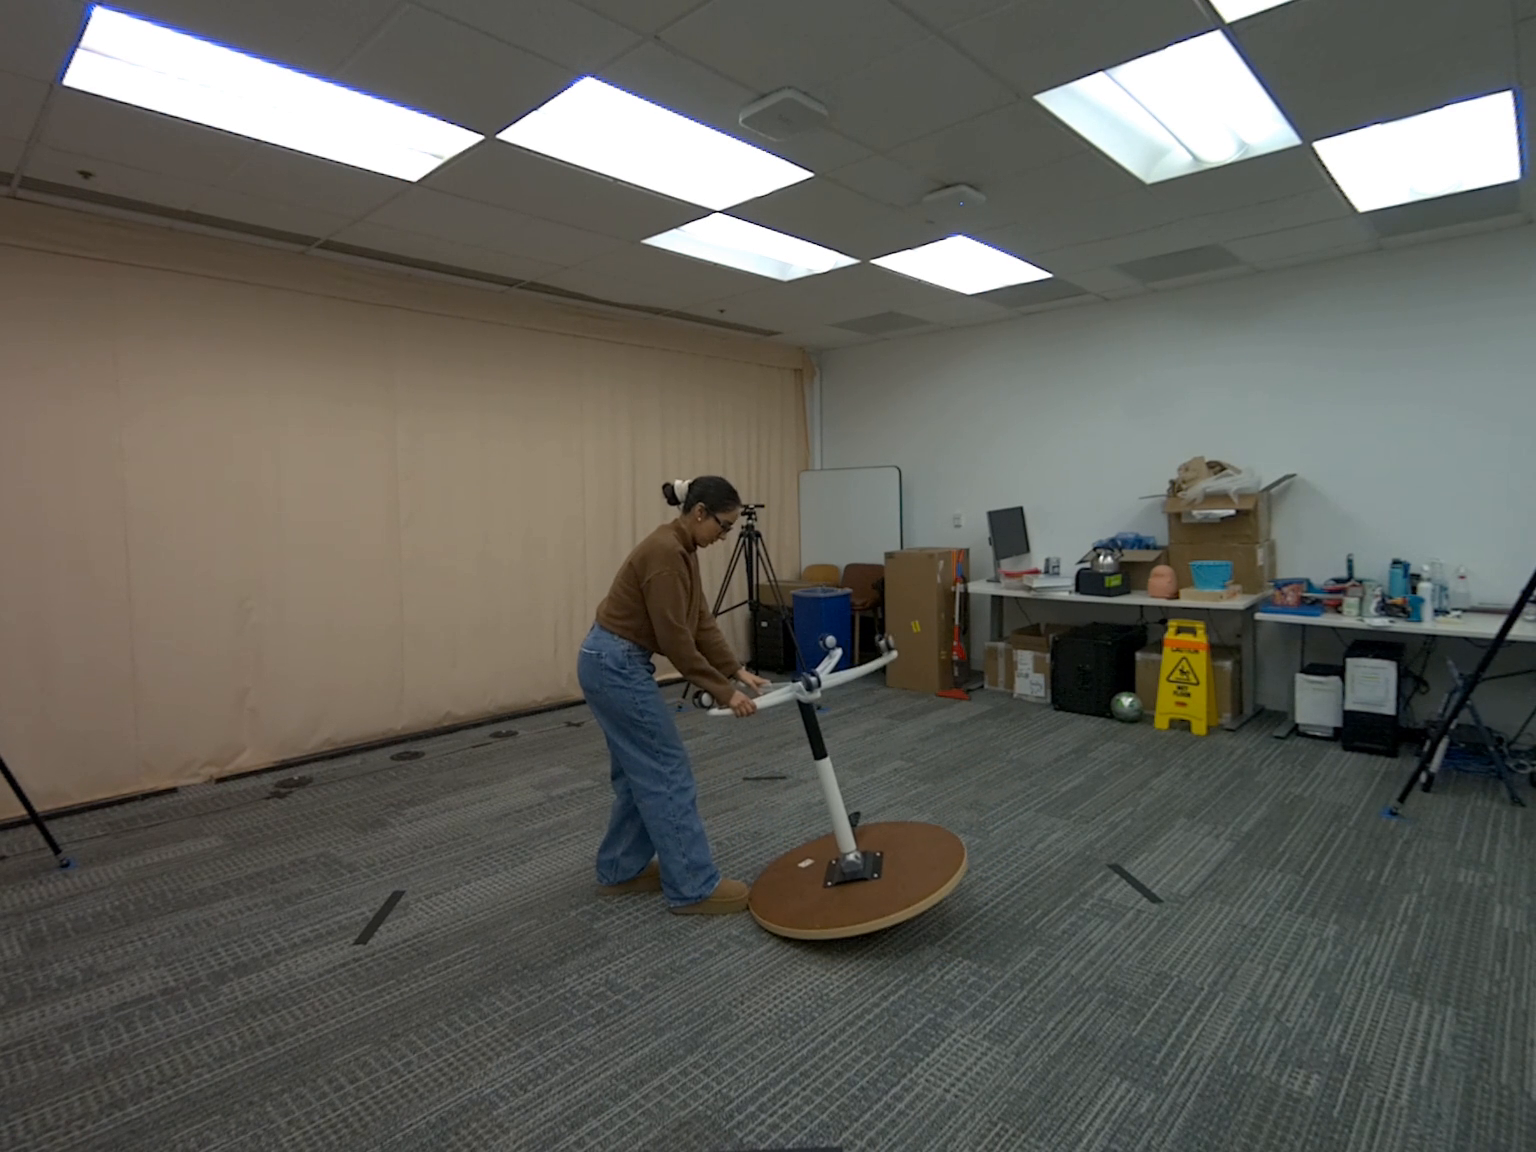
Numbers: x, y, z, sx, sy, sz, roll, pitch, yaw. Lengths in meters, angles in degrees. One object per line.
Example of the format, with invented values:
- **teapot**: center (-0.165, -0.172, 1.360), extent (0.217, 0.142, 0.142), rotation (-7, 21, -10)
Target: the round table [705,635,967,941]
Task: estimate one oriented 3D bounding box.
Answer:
- **round table**: center (0.206, 0.669, 2.906), extent (0.764, 0.792, 0.766), rotation (-15, 3, -1)
